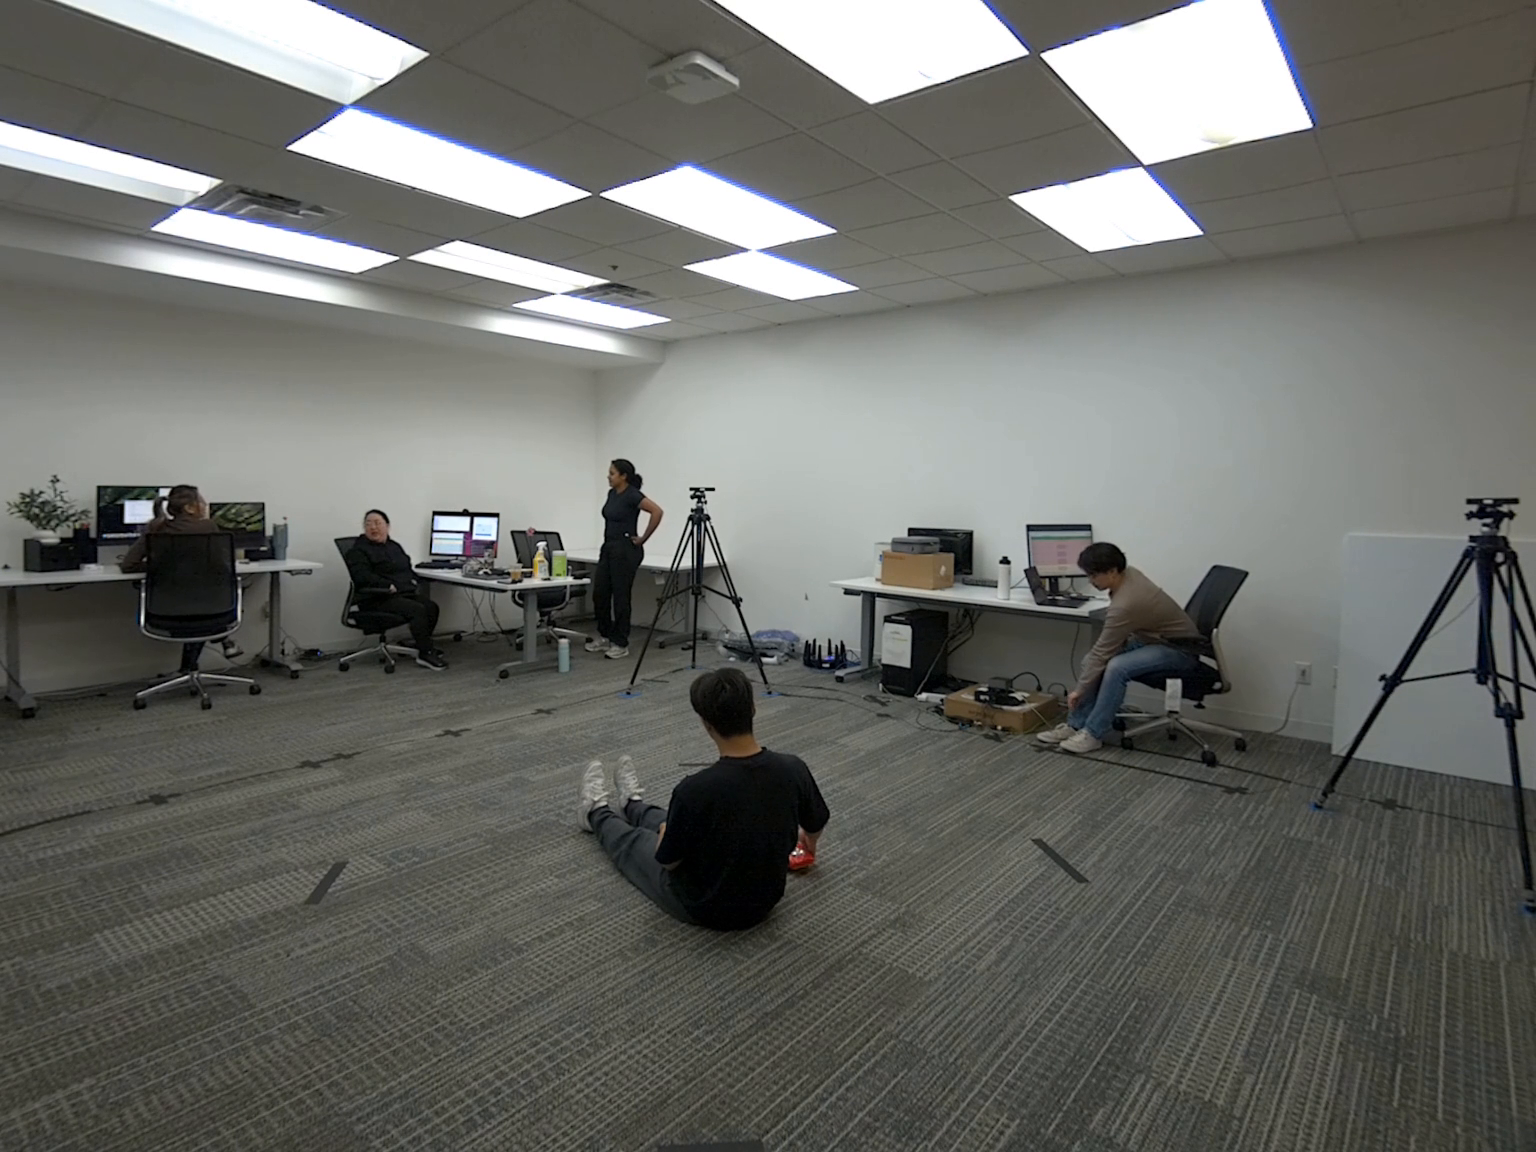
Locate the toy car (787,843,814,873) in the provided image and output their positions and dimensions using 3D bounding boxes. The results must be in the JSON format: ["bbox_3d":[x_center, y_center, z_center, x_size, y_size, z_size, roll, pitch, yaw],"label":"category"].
[{"bbox_3d":[0.070,1.030,3.176,0.127,0.083,0.260,-4,-1,-26],"label":"toy car"}]
